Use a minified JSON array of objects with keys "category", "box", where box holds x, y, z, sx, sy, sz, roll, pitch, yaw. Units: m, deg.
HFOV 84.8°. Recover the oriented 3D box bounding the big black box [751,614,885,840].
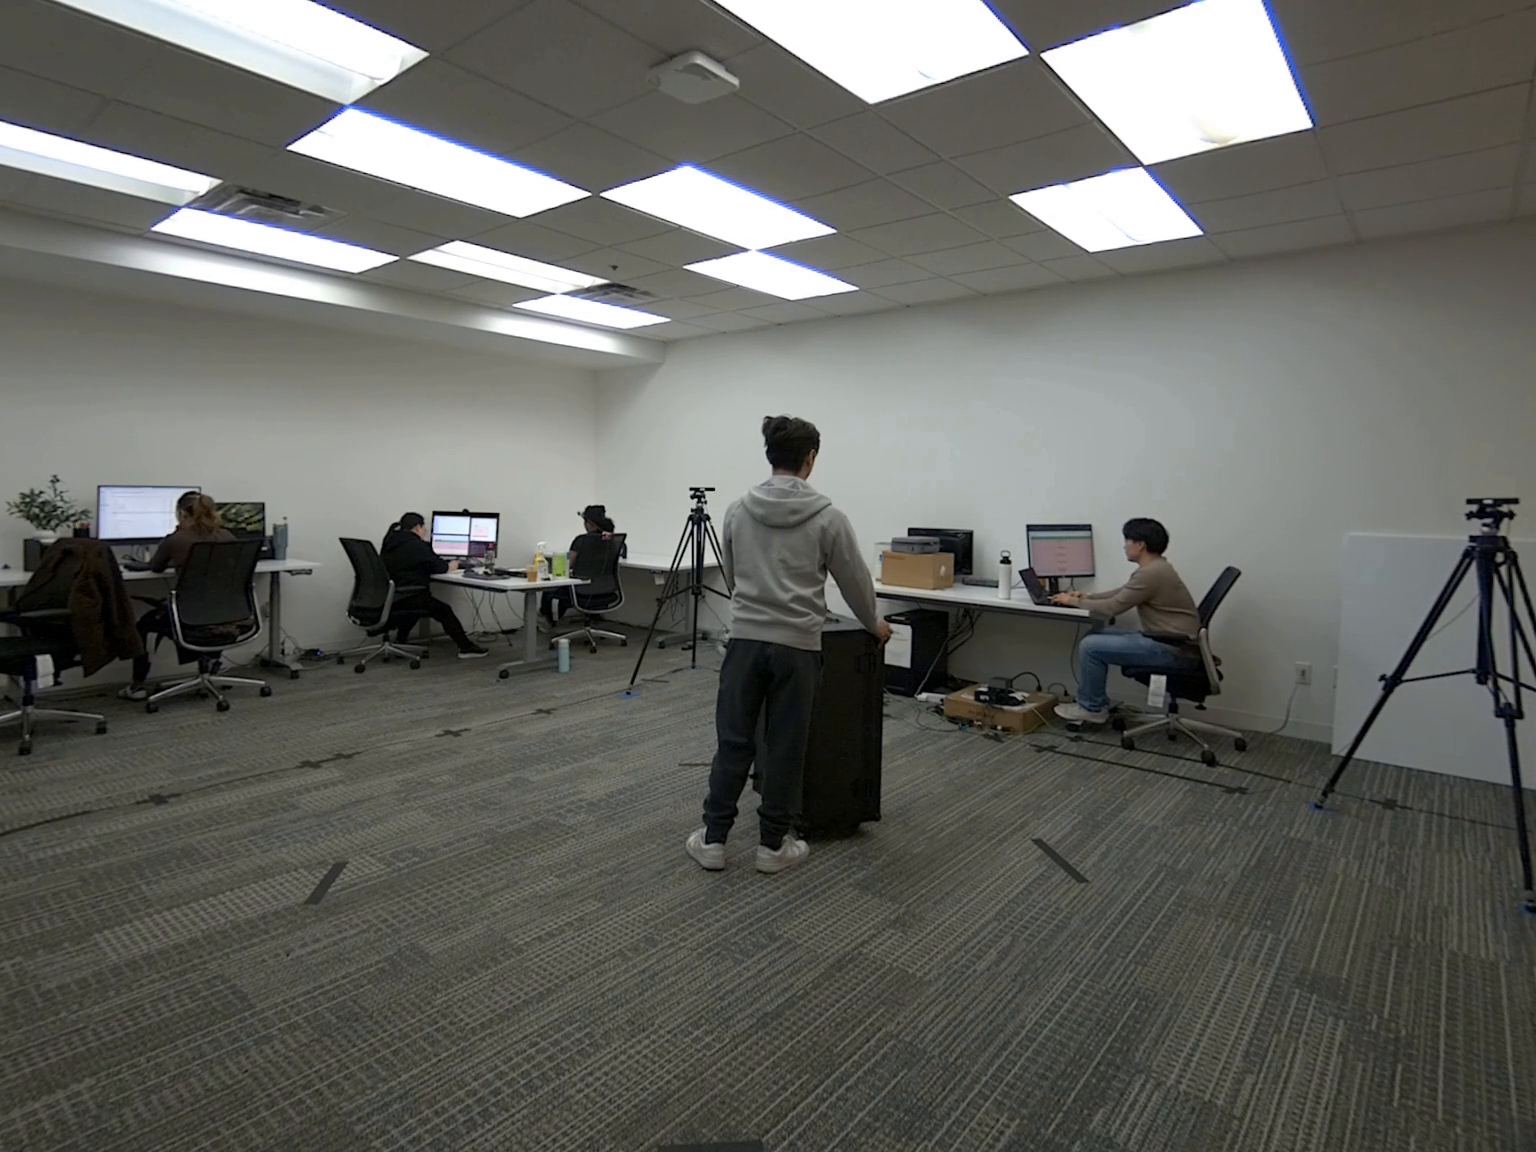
[{"category":"big black box","box":[0.197,0.608,3.560,0.388,0.858,0.534,0,4,-21]}]
